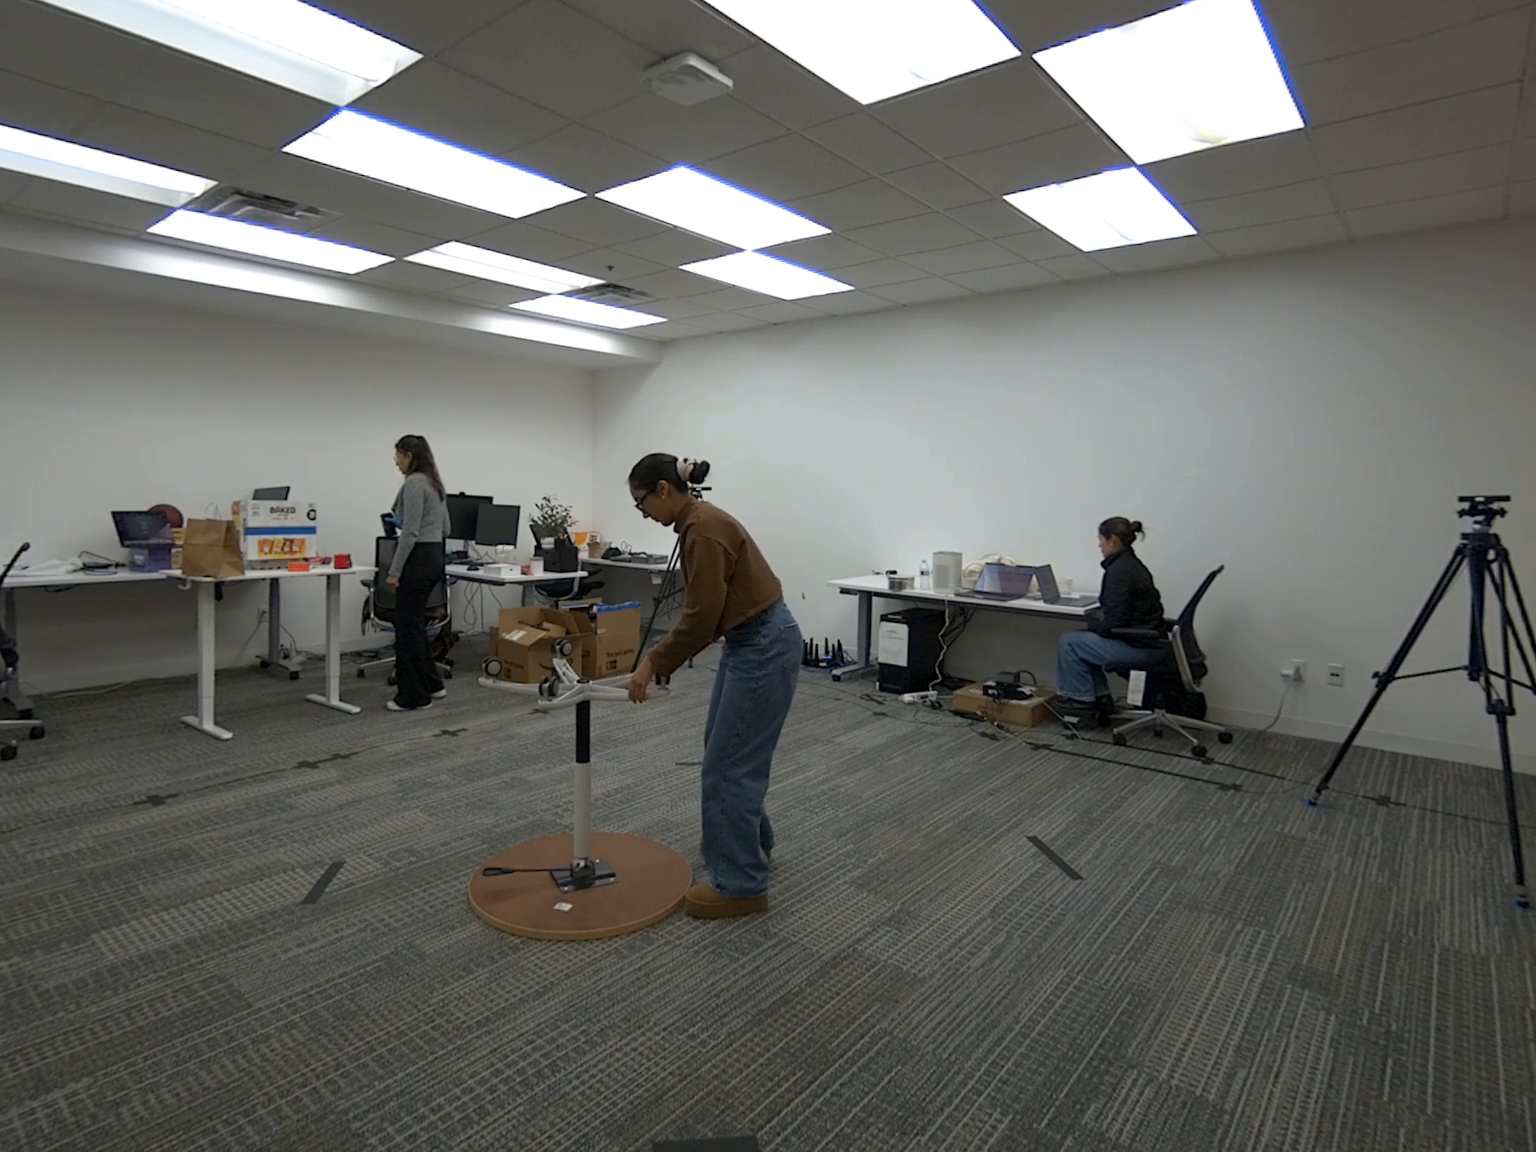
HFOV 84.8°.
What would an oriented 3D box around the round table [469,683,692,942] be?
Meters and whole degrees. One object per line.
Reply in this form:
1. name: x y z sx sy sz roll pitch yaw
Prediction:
1. round table: -0.664 0.679 2.958 0.763 0.792 0.767 0 4 -2
